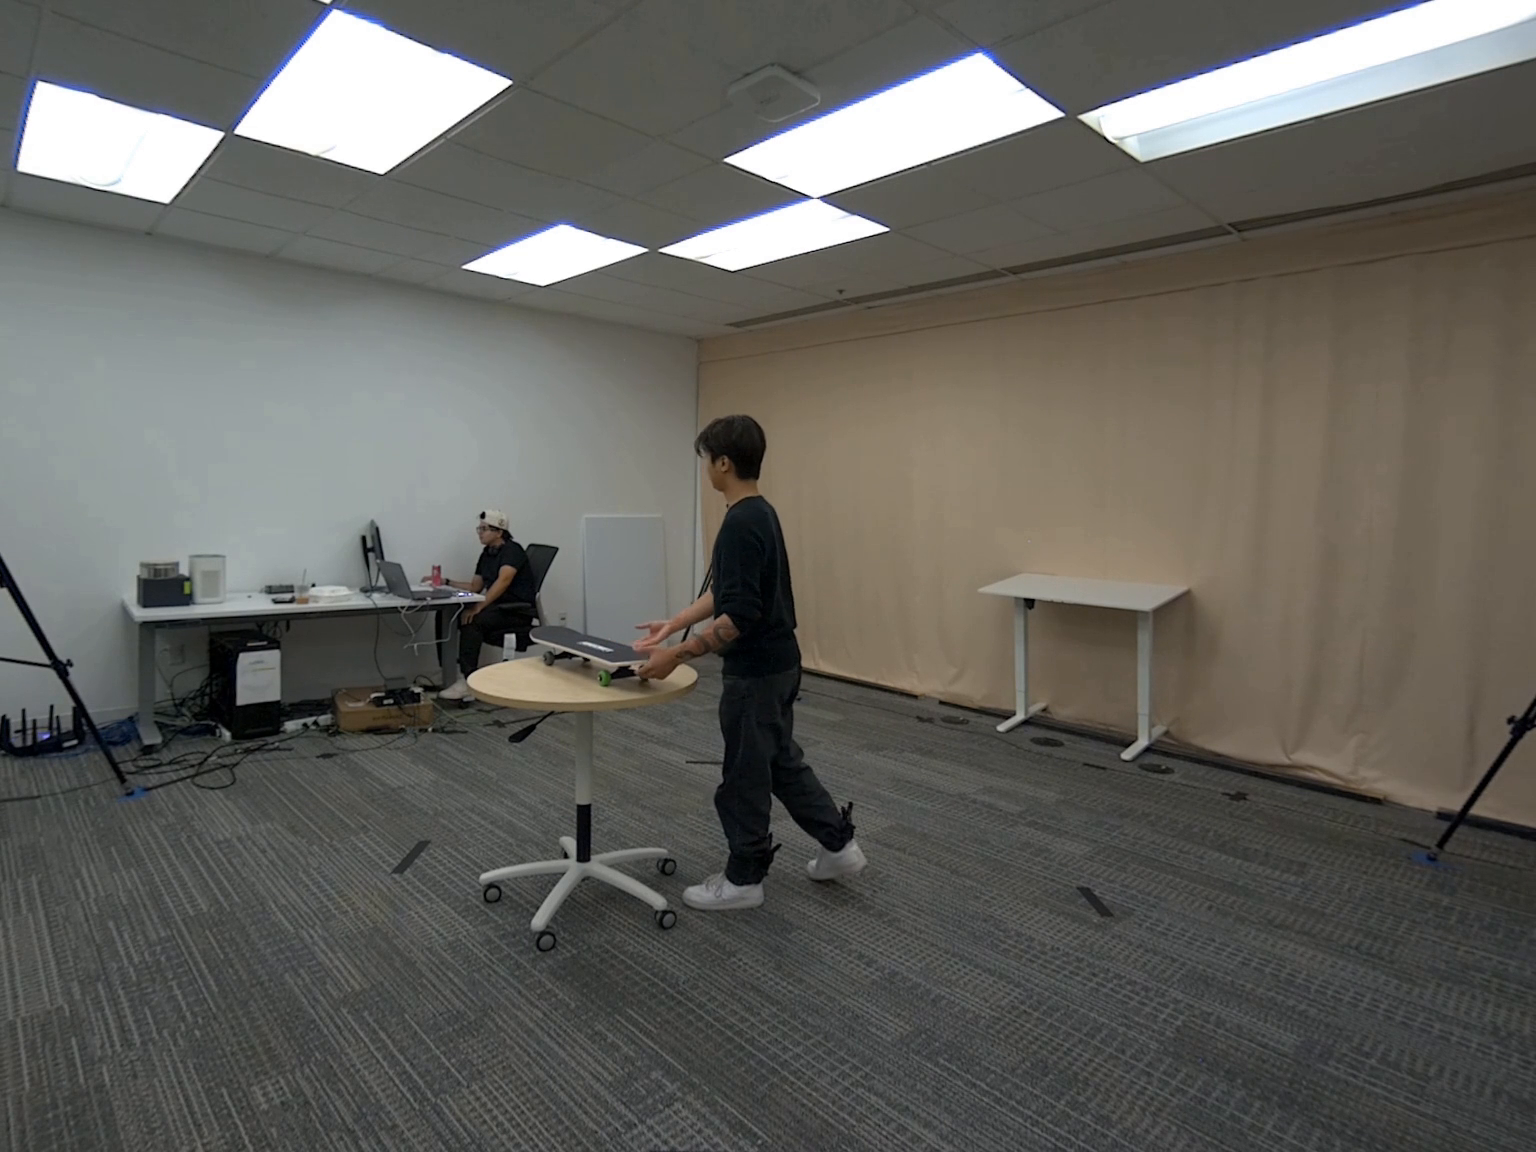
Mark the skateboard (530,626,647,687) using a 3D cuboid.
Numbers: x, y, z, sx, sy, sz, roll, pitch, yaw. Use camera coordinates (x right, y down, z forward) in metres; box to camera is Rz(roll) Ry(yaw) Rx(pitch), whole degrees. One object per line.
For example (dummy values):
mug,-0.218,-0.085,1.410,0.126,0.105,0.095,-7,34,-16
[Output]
skateboard,-0.601,0.285,2.892,0.189,0.110,0.806,-4,8,-40
